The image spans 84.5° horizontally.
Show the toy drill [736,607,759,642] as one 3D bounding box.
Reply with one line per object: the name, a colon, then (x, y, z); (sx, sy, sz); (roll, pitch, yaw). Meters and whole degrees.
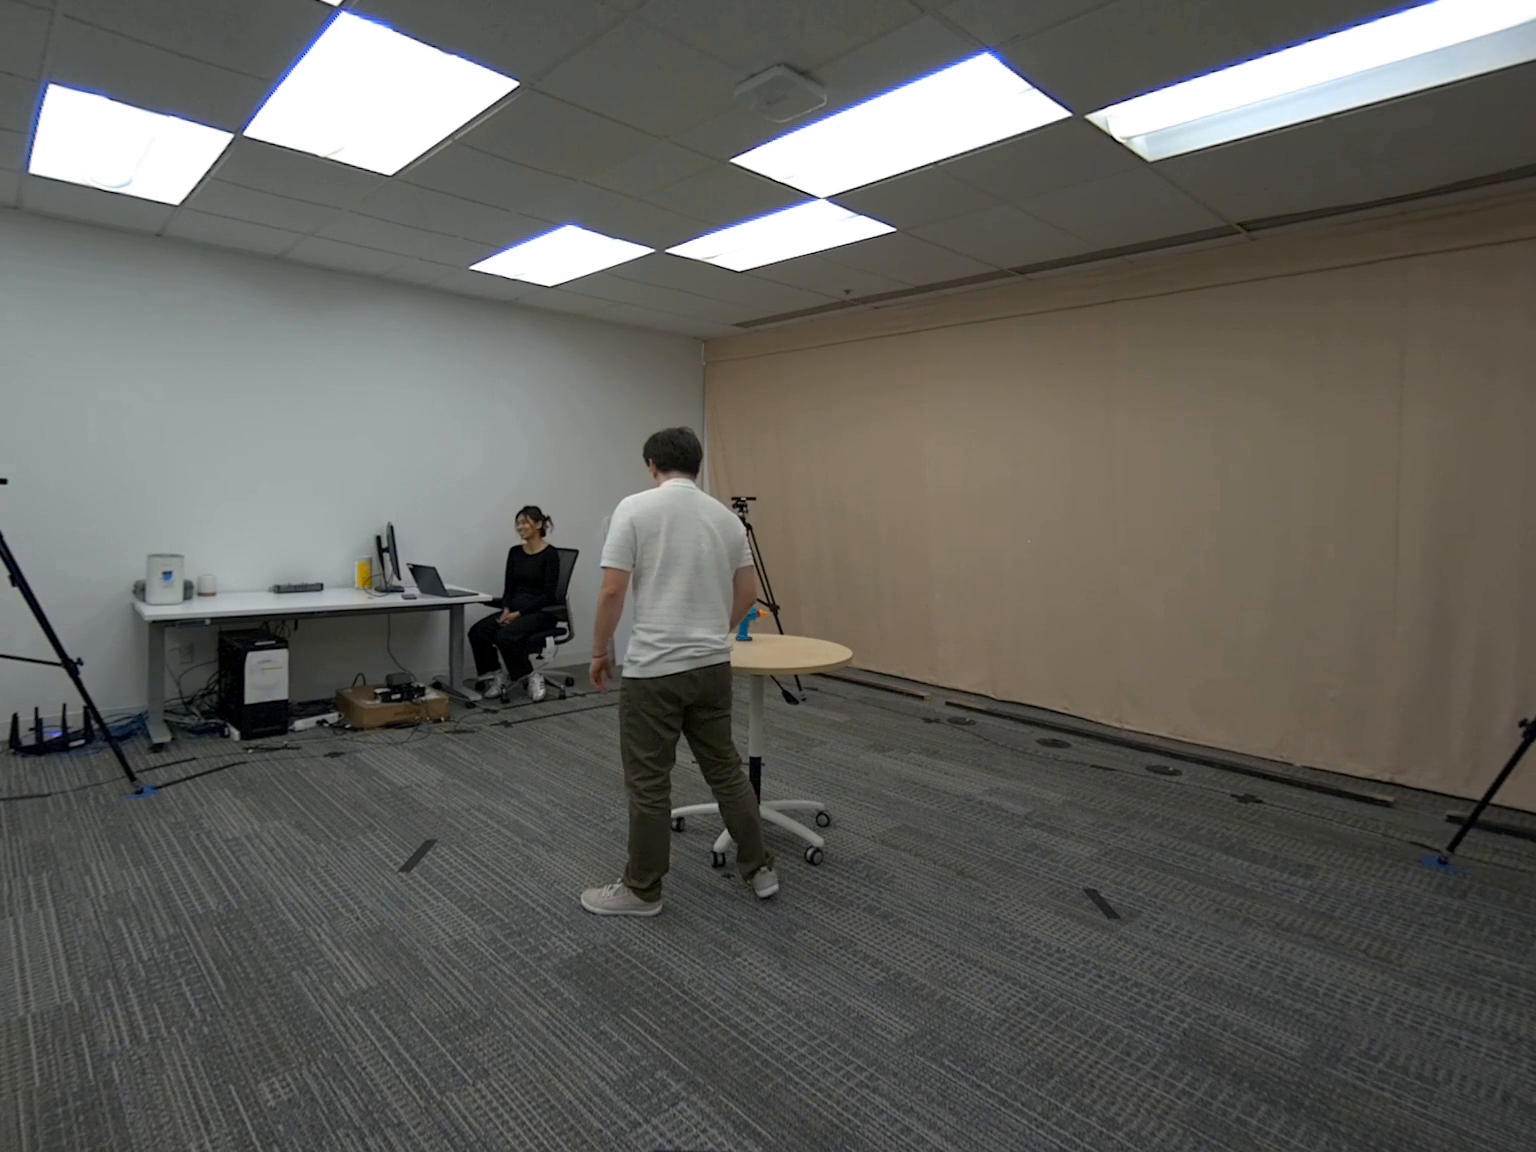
toy drill: (-0.083, 0.205, 3.645); (0.166, 0.145, 0.062); (-1, 5, -29)
